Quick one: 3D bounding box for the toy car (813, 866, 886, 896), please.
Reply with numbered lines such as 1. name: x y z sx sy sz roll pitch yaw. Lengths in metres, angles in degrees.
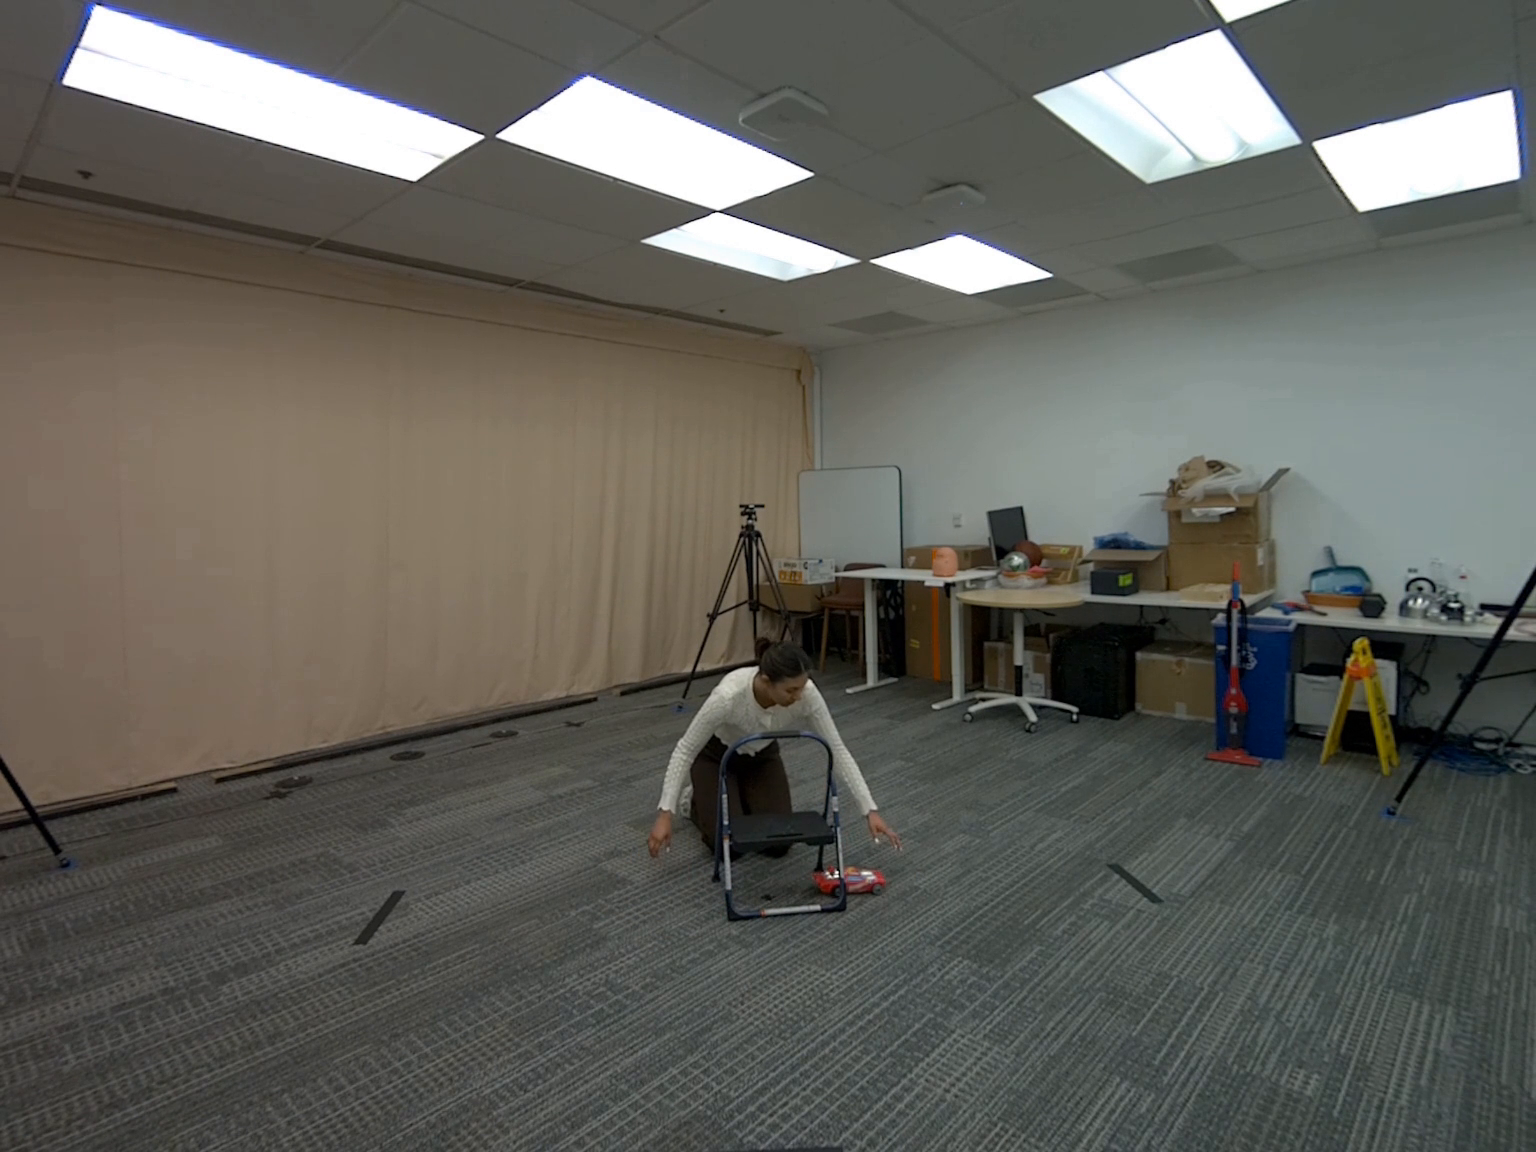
1. toy car: 0.280 1.106 3.019 0.253 0.083 0.131 12 2 -5
